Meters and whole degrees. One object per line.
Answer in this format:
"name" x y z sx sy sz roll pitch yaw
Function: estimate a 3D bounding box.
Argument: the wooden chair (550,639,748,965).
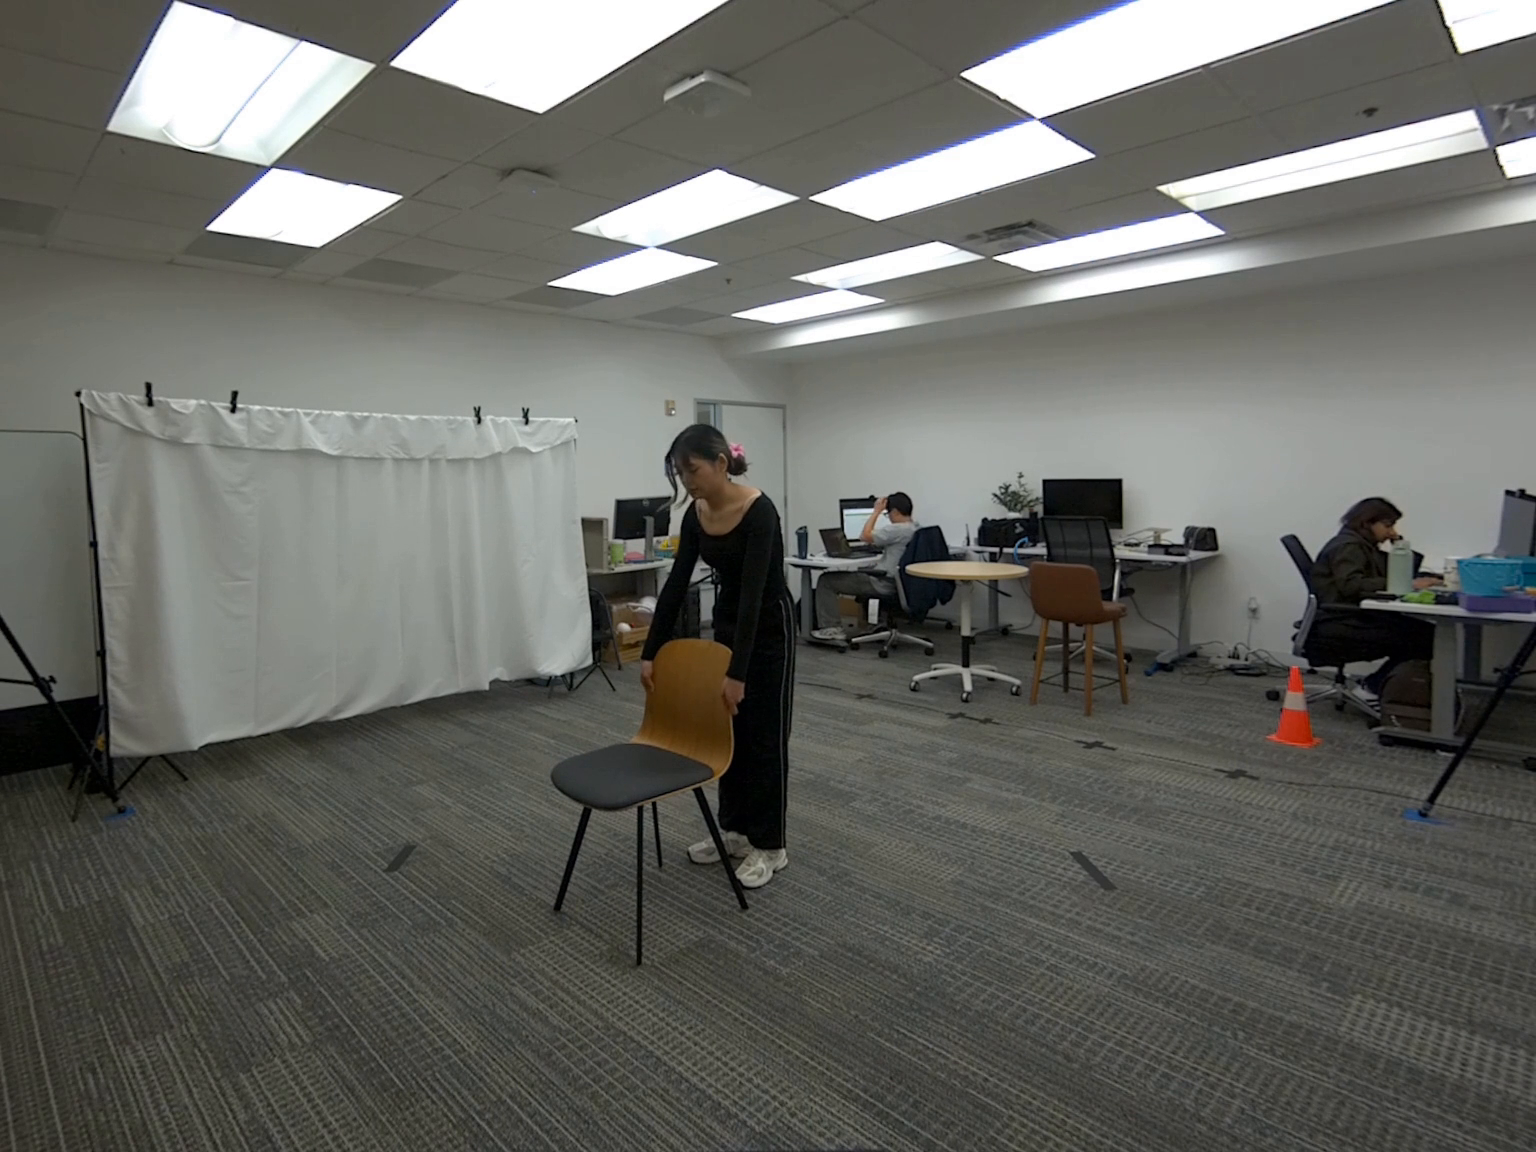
"wooden chair" -0.393 0.666 2.732 0.508 0.876 0.493 0 3 -45
